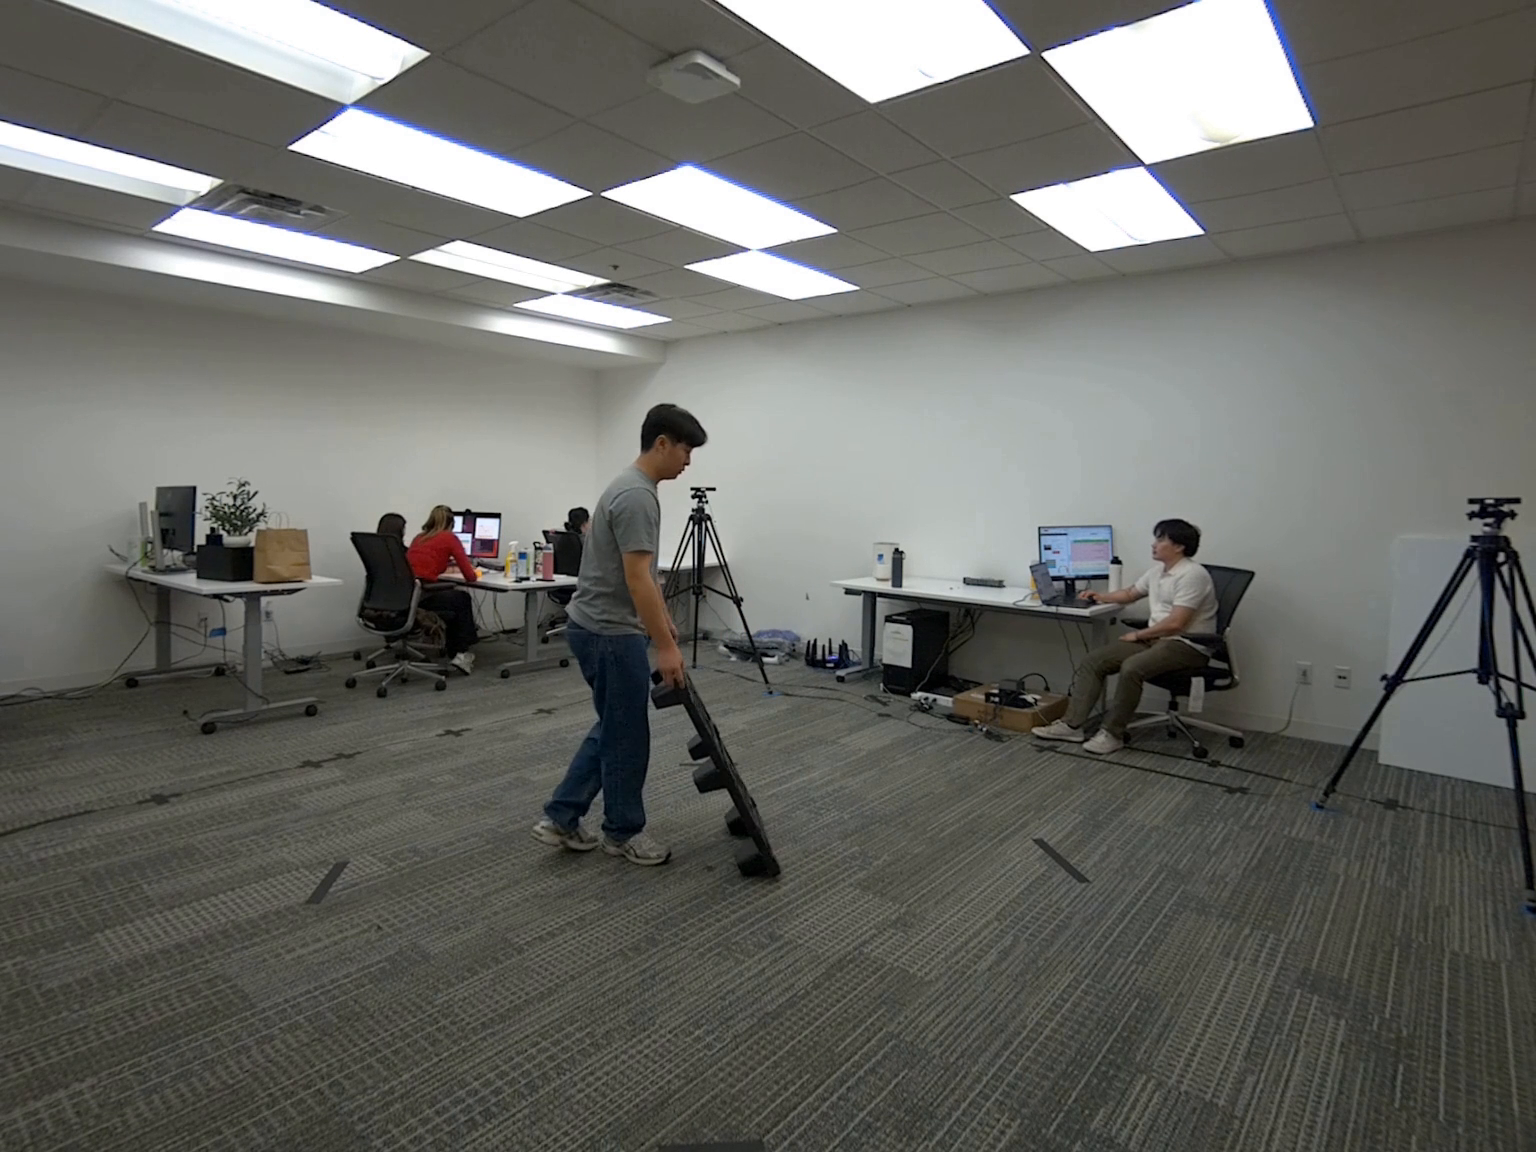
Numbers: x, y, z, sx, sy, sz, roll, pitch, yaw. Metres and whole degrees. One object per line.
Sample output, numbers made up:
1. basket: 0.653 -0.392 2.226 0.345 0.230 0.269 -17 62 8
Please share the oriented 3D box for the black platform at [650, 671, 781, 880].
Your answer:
1. black platform: -0.231 0.698 3.253 0.143 0.801 0.610 -26 5 -5
